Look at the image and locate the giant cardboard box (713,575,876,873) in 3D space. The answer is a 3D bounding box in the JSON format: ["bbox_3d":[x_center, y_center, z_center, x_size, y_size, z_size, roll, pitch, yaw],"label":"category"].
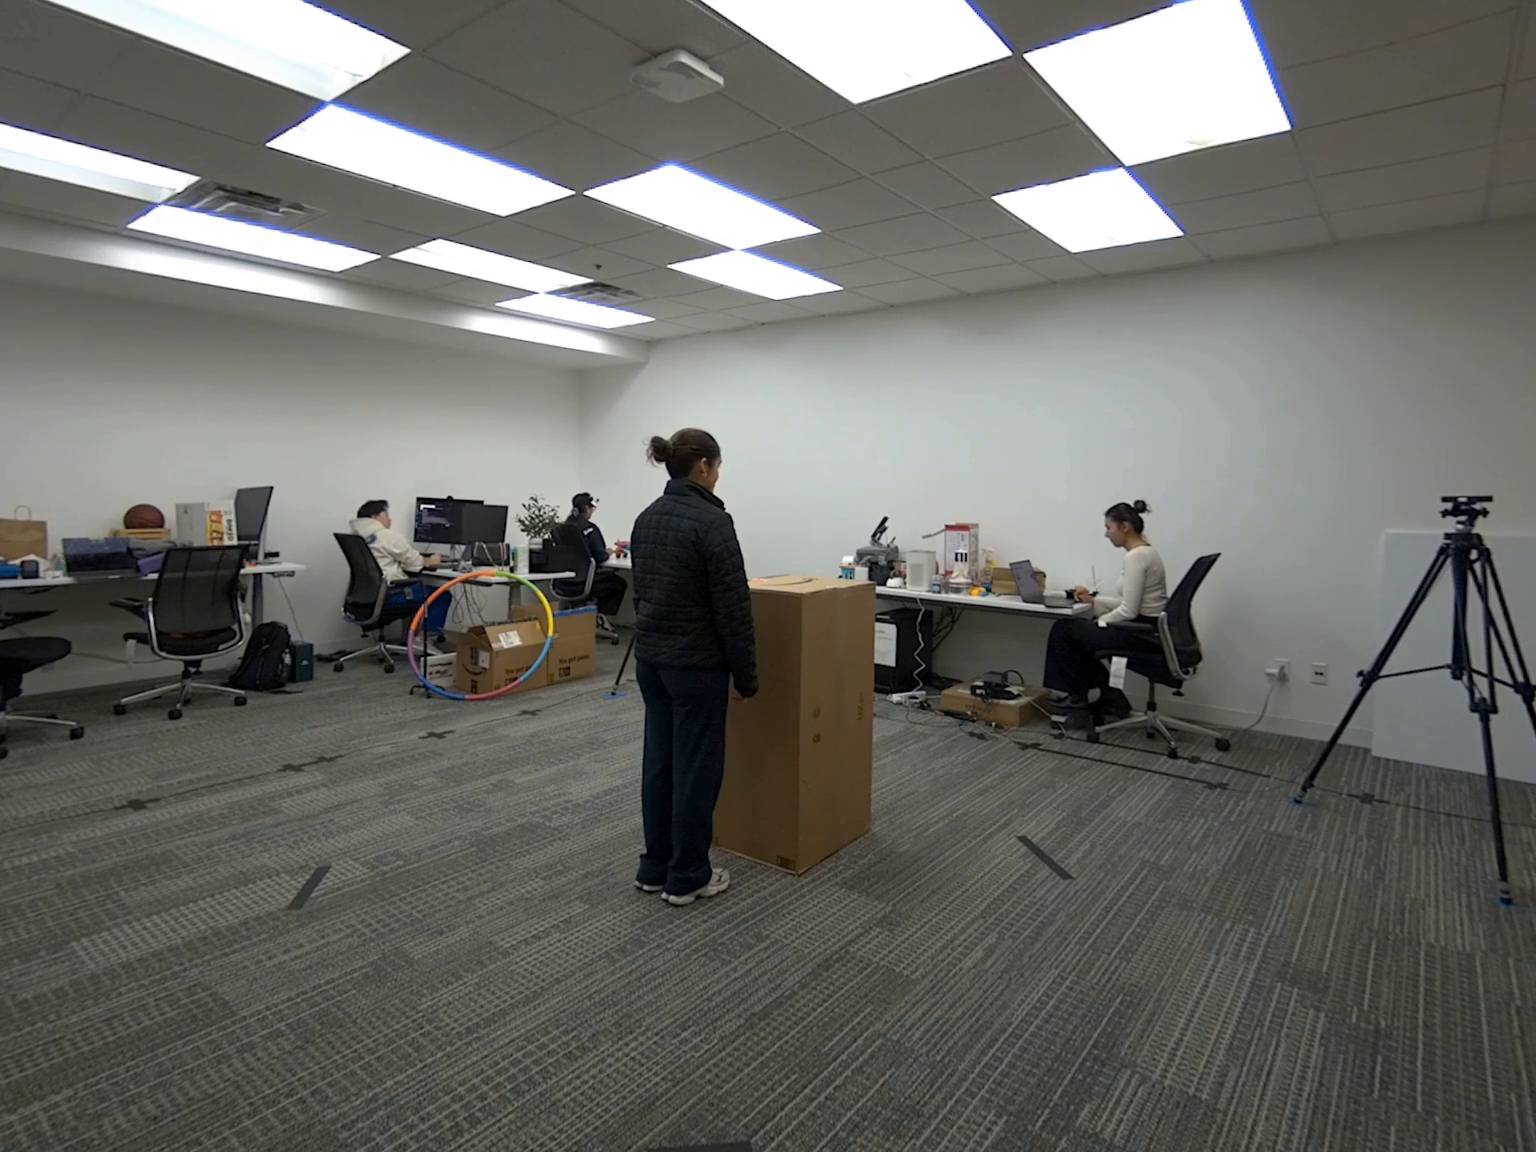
[{"bbox_3d":[0.118,0.536,3.391,0.440,1.023,0.561,3,4,37],"label":"giant cardboard box"}]
